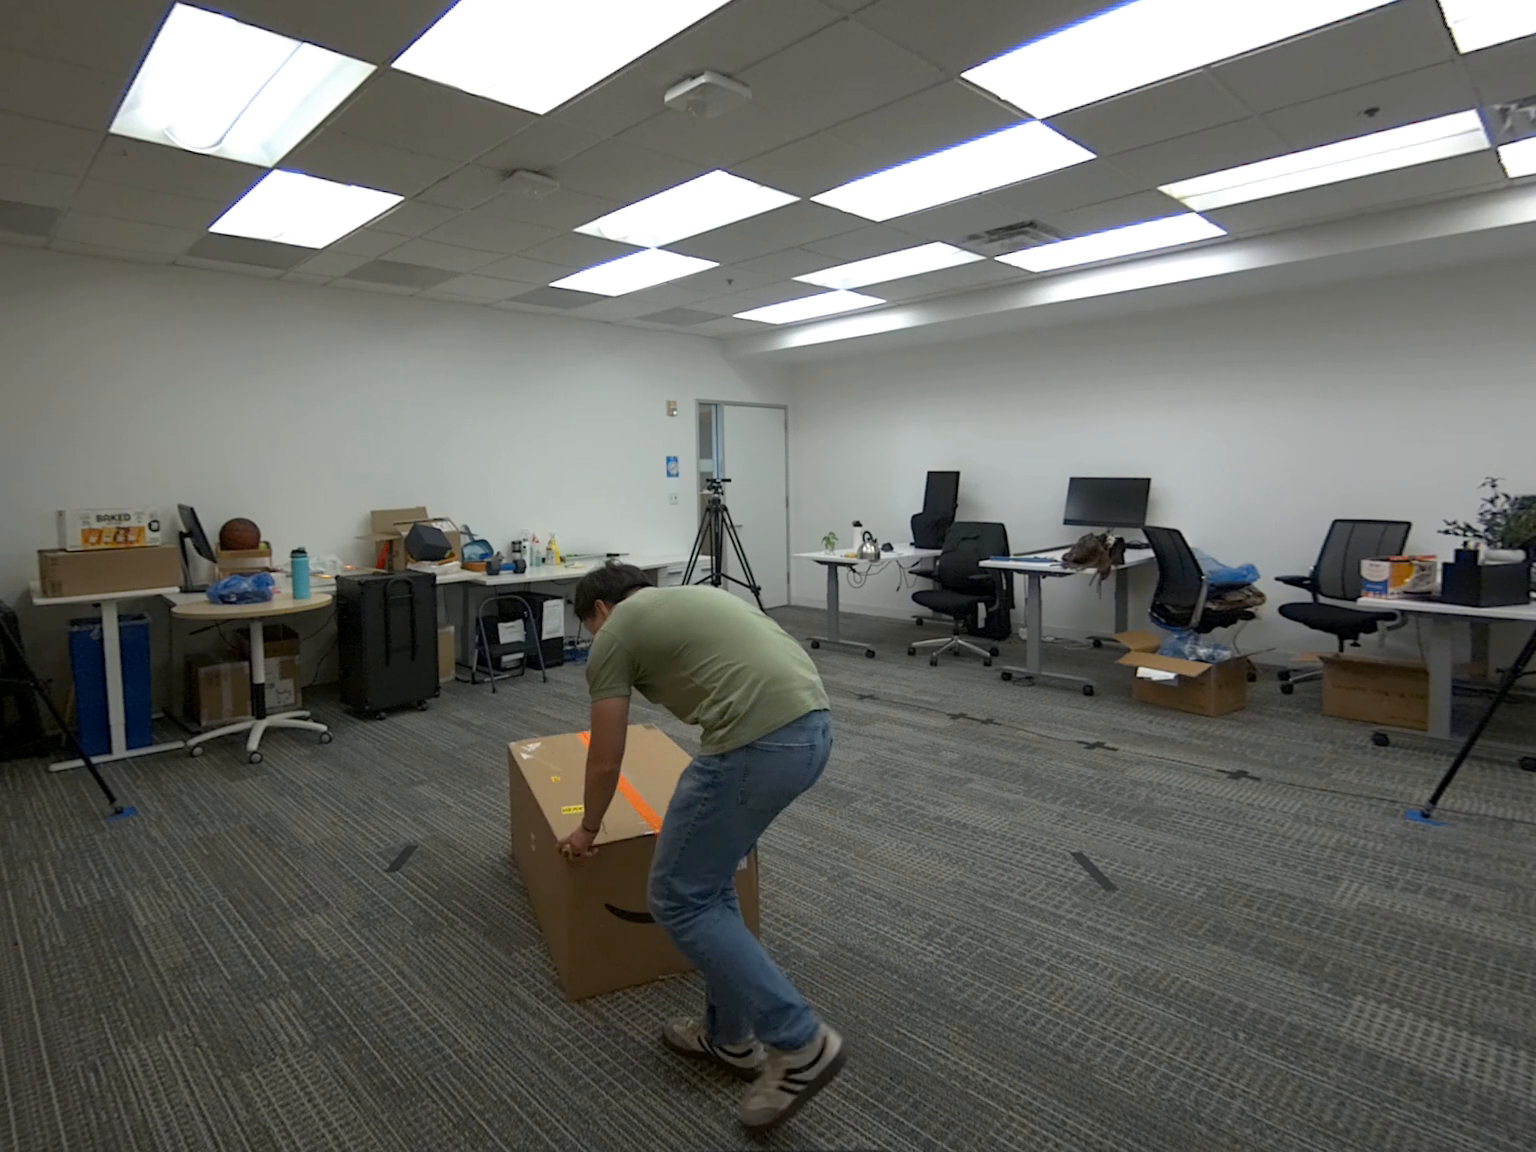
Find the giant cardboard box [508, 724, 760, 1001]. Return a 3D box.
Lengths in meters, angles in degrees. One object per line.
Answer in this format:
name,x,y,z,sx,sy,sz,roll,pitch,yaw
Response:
giant cardboard box,-0.501,0.869,2.862,0.566,0.424,1.052,-4,7,-24
